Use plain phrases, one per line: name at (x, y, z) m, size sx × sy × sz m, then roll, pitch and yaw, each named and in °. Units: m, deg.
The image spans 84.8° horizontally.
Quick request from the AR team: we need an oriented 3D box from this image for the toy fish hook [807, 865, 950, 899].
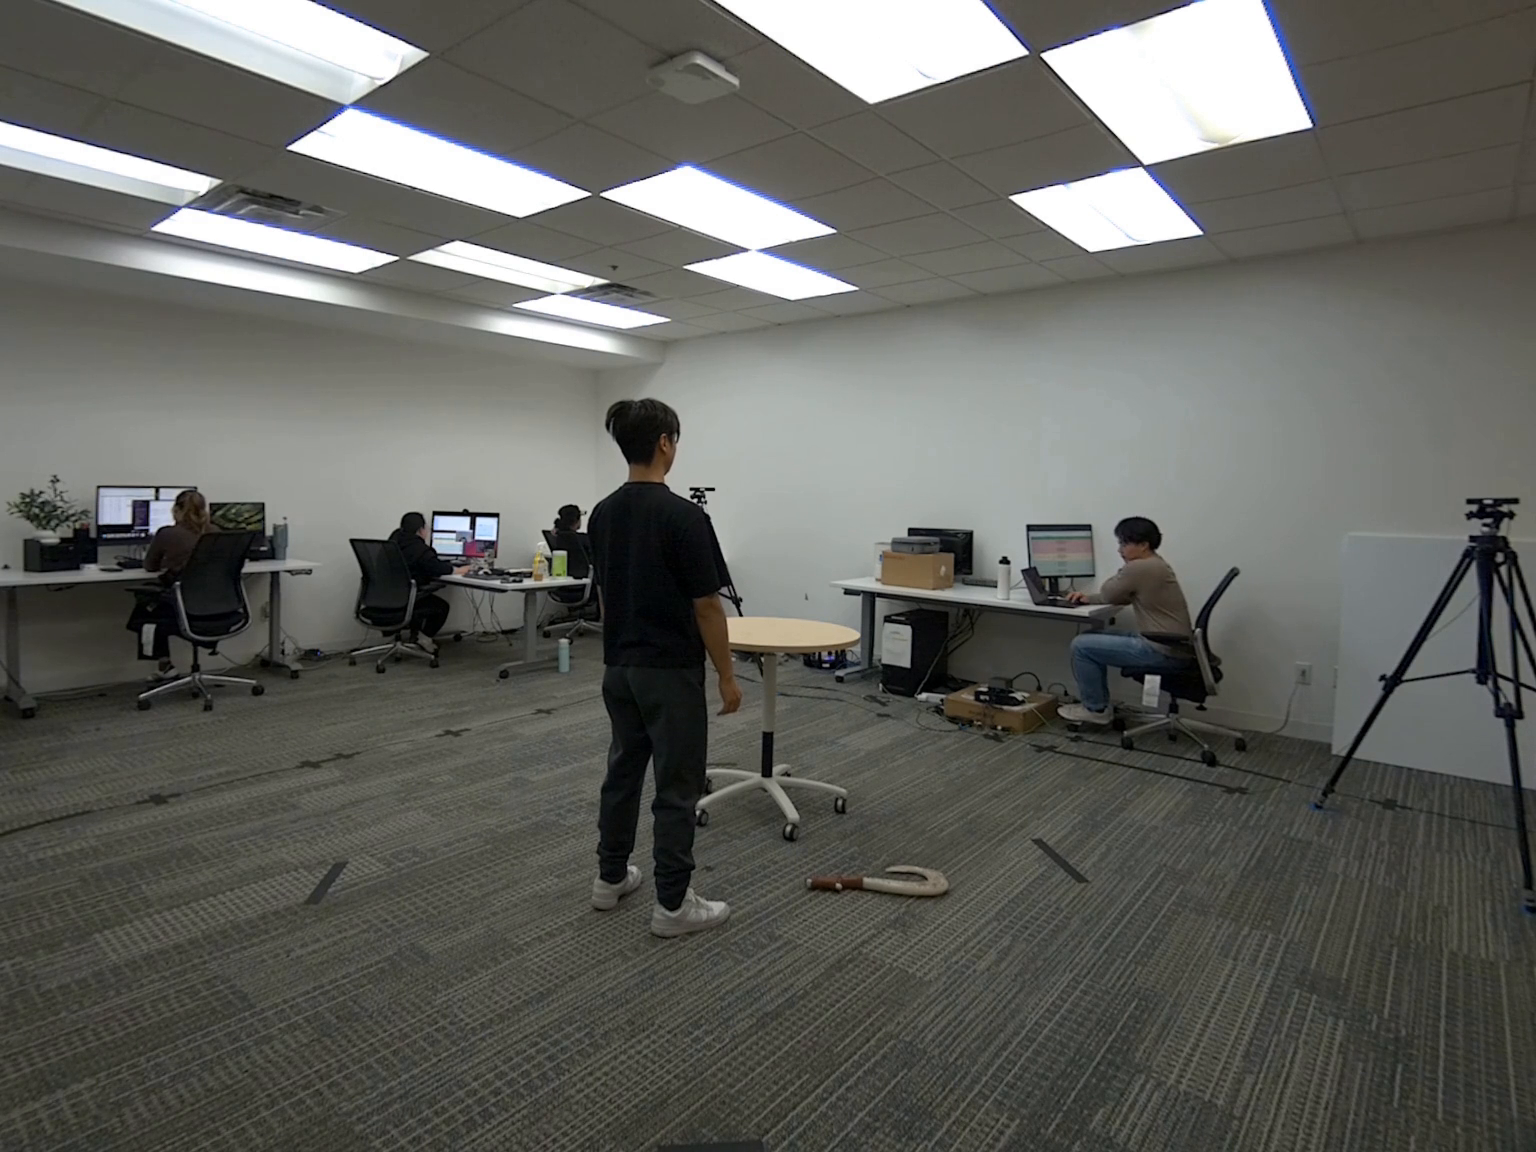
toy fish hook at (0.376, 1.077, 3.020) m, size 0.506 × 0.048 × 0.224 m, roll 2°, pitch -2°, yaw -1°
